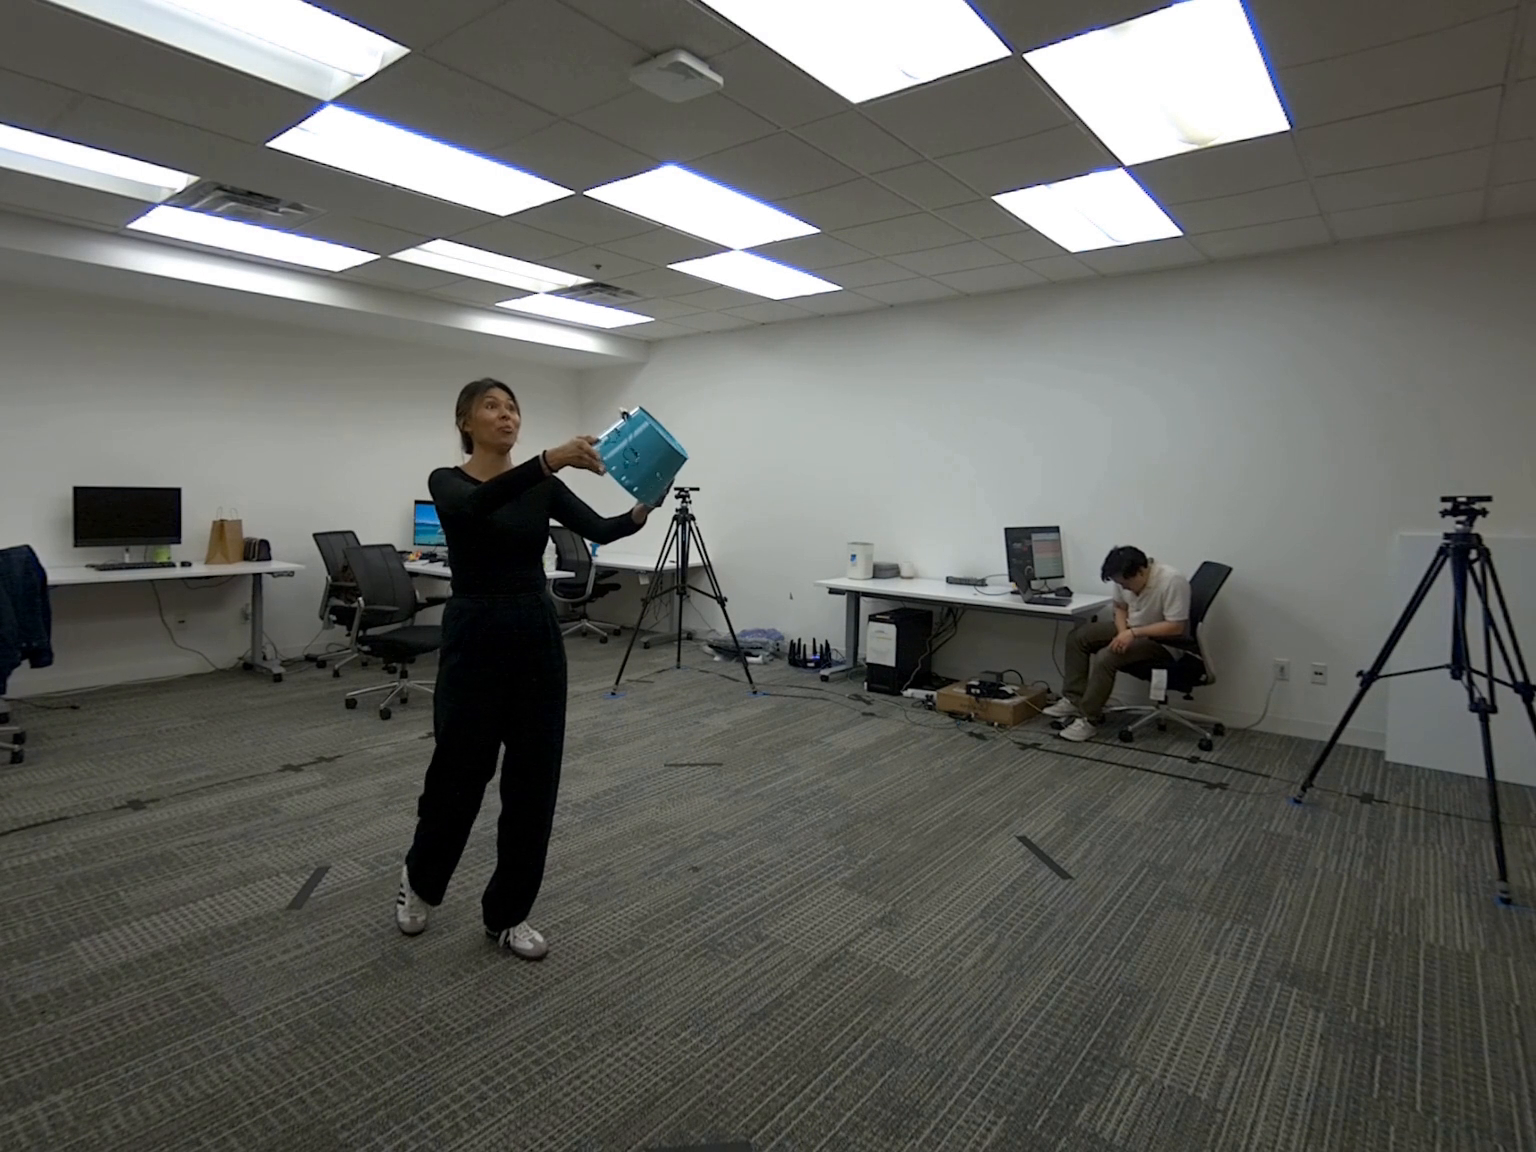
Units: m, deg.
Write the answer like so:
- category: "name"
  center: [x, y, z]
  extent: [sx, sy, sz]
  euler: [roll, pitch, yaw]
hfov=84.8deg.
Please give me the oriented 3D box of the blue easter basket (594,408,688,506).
- category: "blue easter basket"
  center: [-0.324, -0.309, 2.125]
  extent: [0.241, 0.156, 0.246]
  euler: [45, 7, -9]
